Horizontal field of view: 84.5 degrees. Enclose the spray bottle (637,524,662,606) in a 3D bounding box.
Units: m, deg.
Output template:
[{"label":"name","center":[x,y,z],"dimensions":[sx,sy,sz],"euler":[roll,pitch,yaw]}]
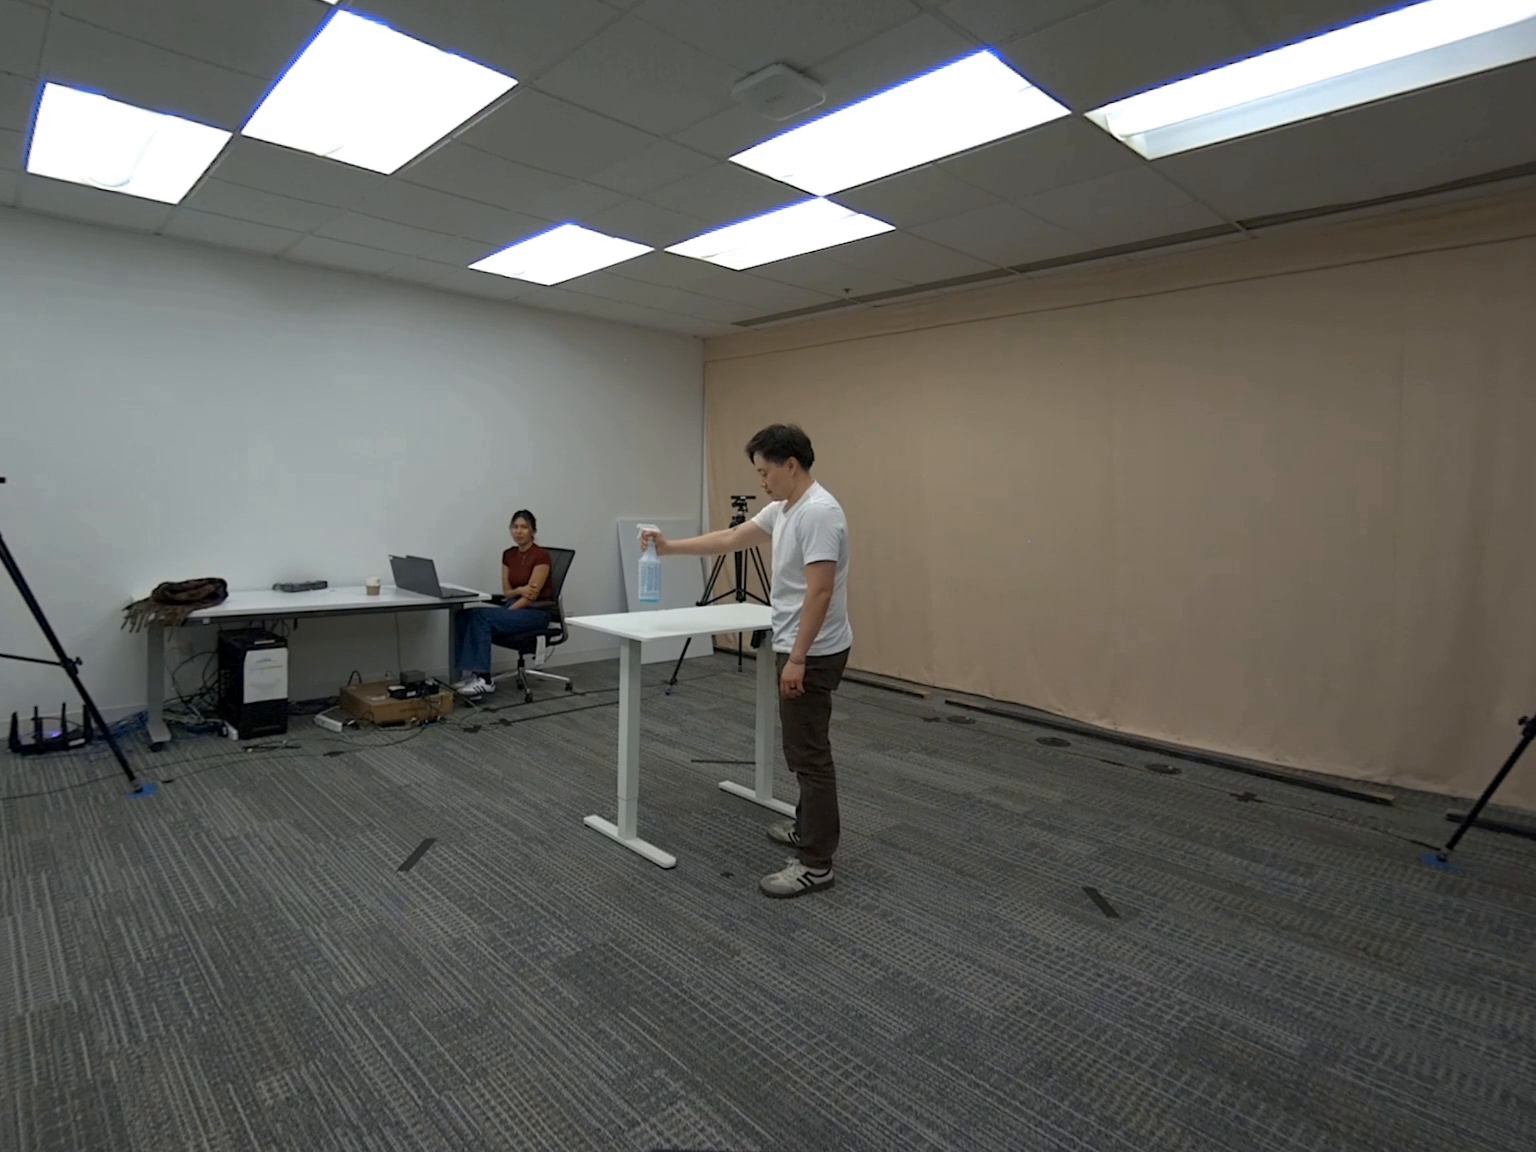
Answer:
[{"label":"spray bottle","center":[-0.456,-0.054,3.203],"dimensions":[0.091,0.297,0.086],"euler":[1,3,11]}]
